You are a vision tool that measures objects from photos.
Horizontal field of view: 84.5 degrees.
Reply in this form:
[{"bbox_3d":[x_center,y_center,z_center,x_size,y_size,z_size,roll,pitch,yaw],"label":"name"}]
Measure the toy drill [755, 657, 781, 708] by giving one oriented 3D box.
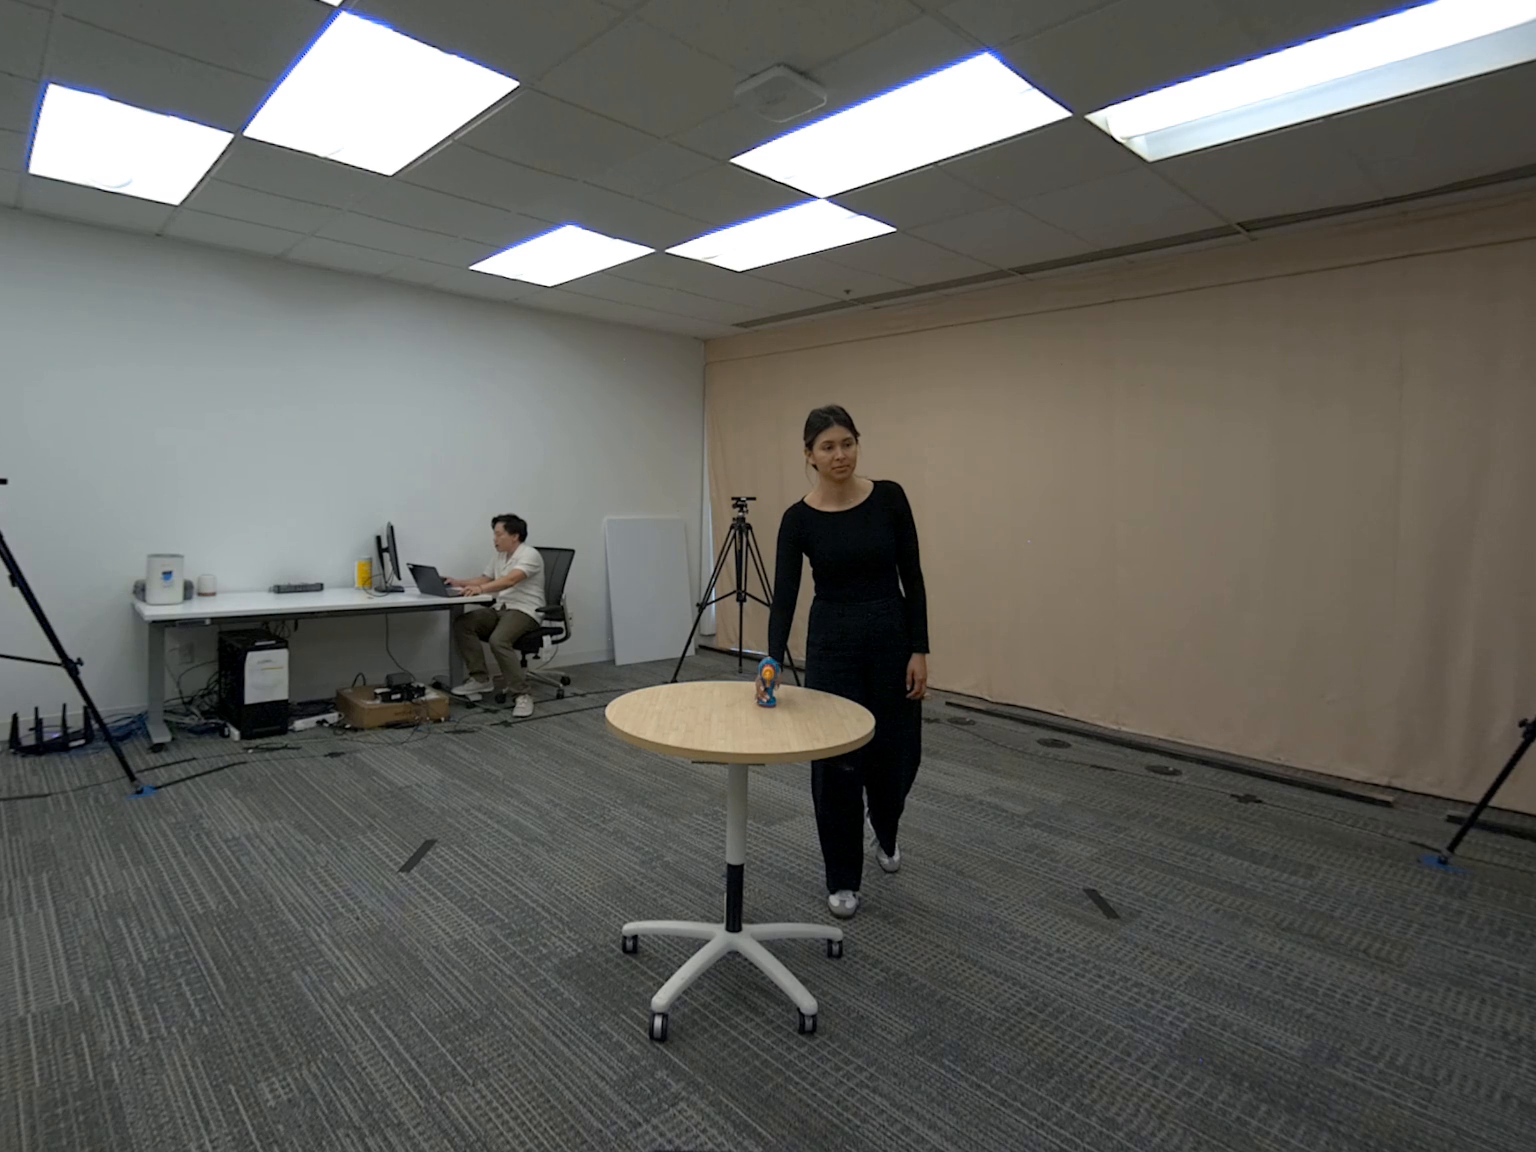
[{"bbox_3d":[-0.008,0.313,2.445,0.061,0.145,0.170,-1,5,0],"label":"toy drill"}]
